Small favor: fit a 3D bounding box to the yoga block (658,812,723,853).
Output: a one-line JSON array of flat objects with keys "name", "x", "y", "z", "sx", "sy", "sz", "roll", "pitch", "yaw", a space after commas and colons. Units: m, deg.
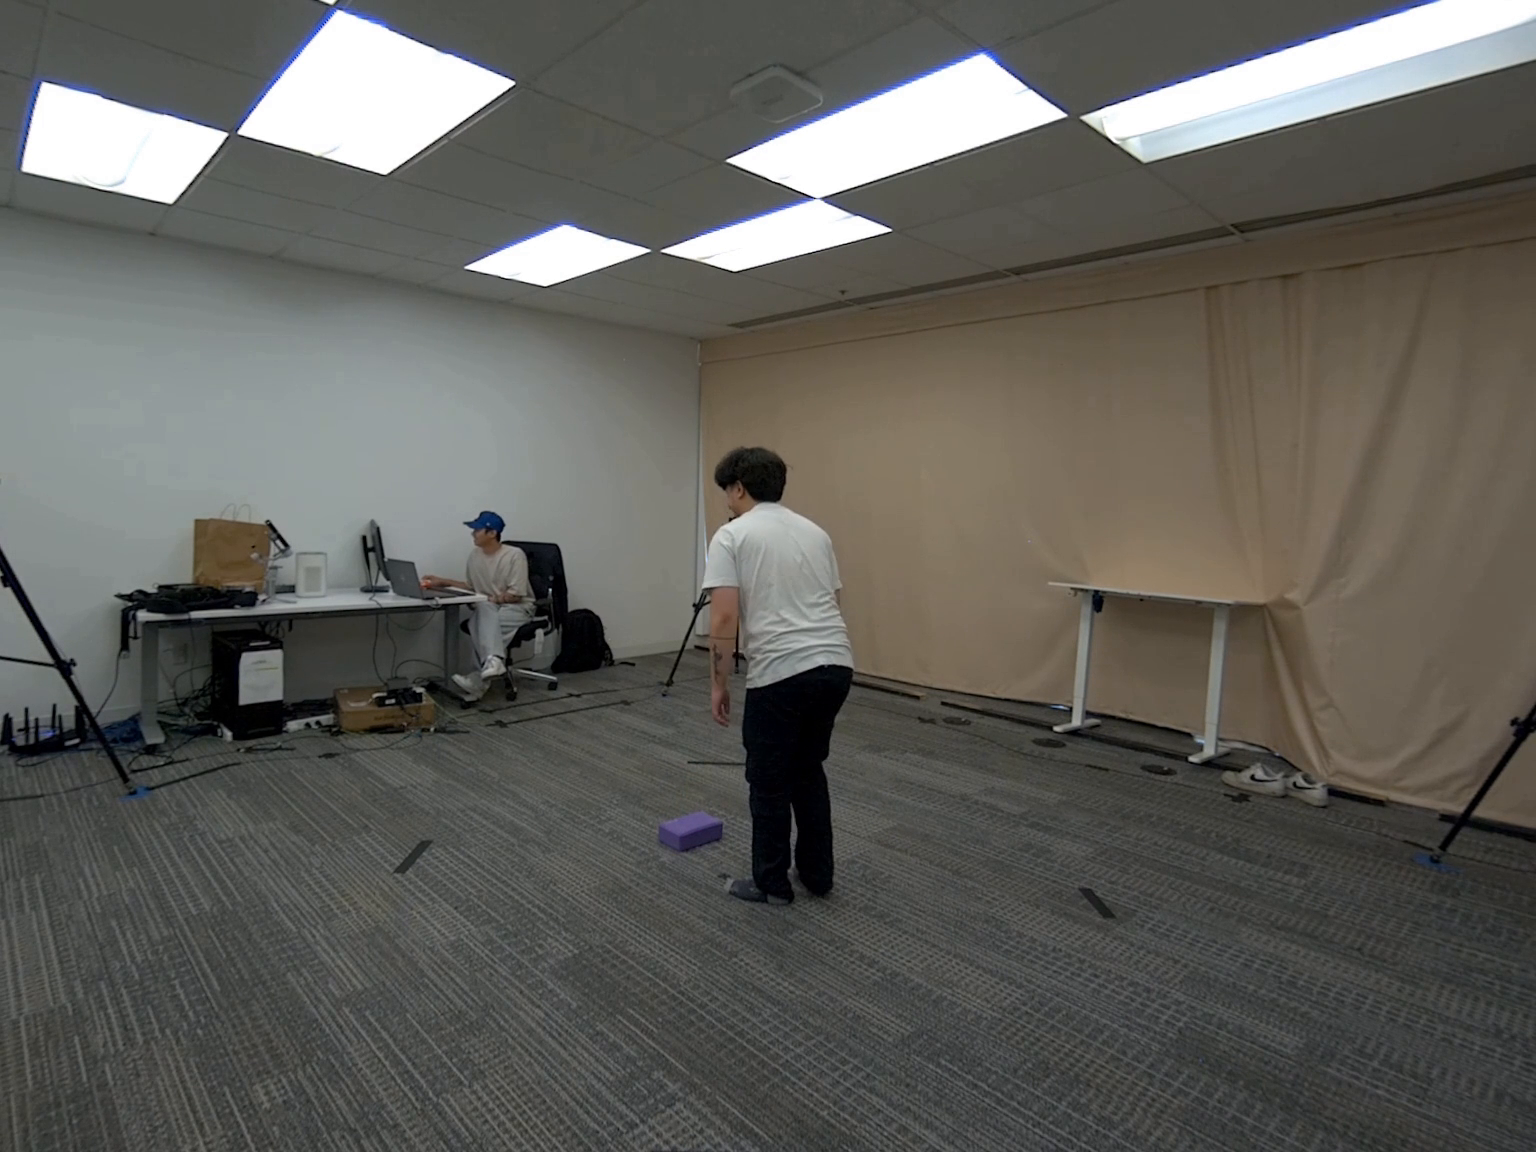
[{"name": "yoga block", "x": -0.321, "y": 1.038, "z": 3.426, "sx": 0.224, "sy": 0.076, "sz": 0.153, "roll": -4, "pitch": 8, "yaw": -45}]
